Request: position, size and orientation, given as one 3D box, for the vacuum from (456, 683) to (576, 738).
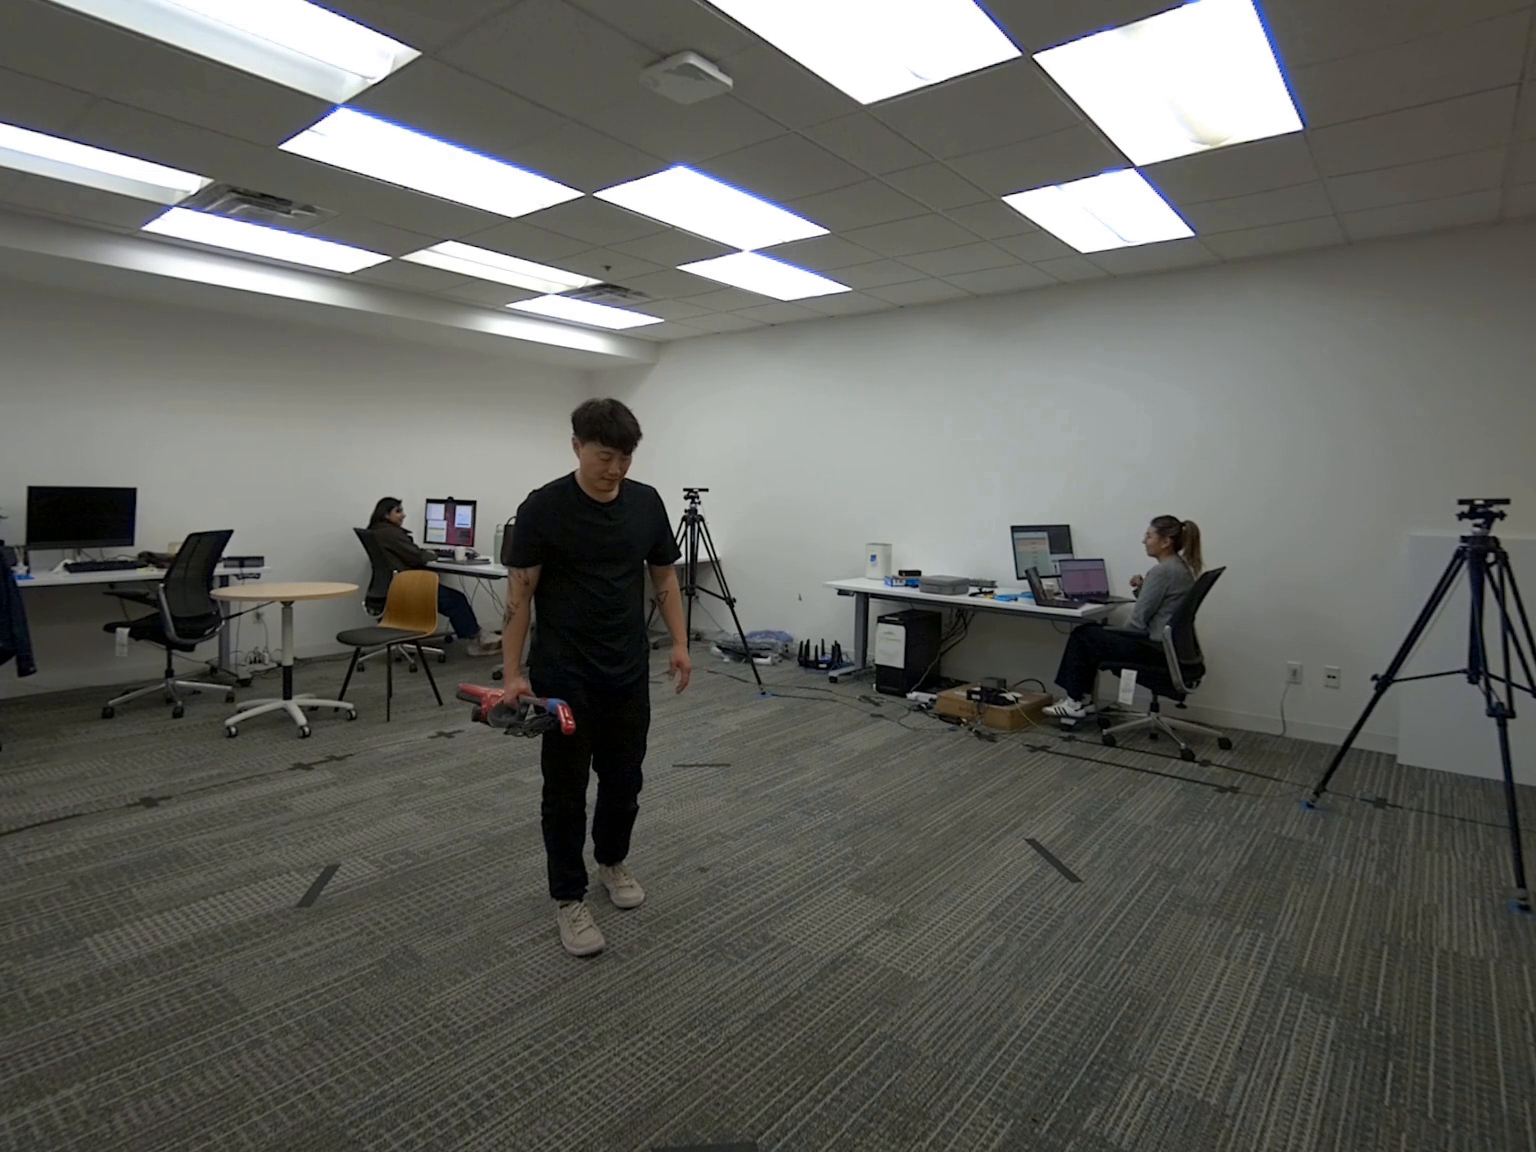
[{"bbox_3d":[-0.717,0.403,2.459,0.245,0.145,1.070,16,-12,-25],"label":"vacuum"}]
